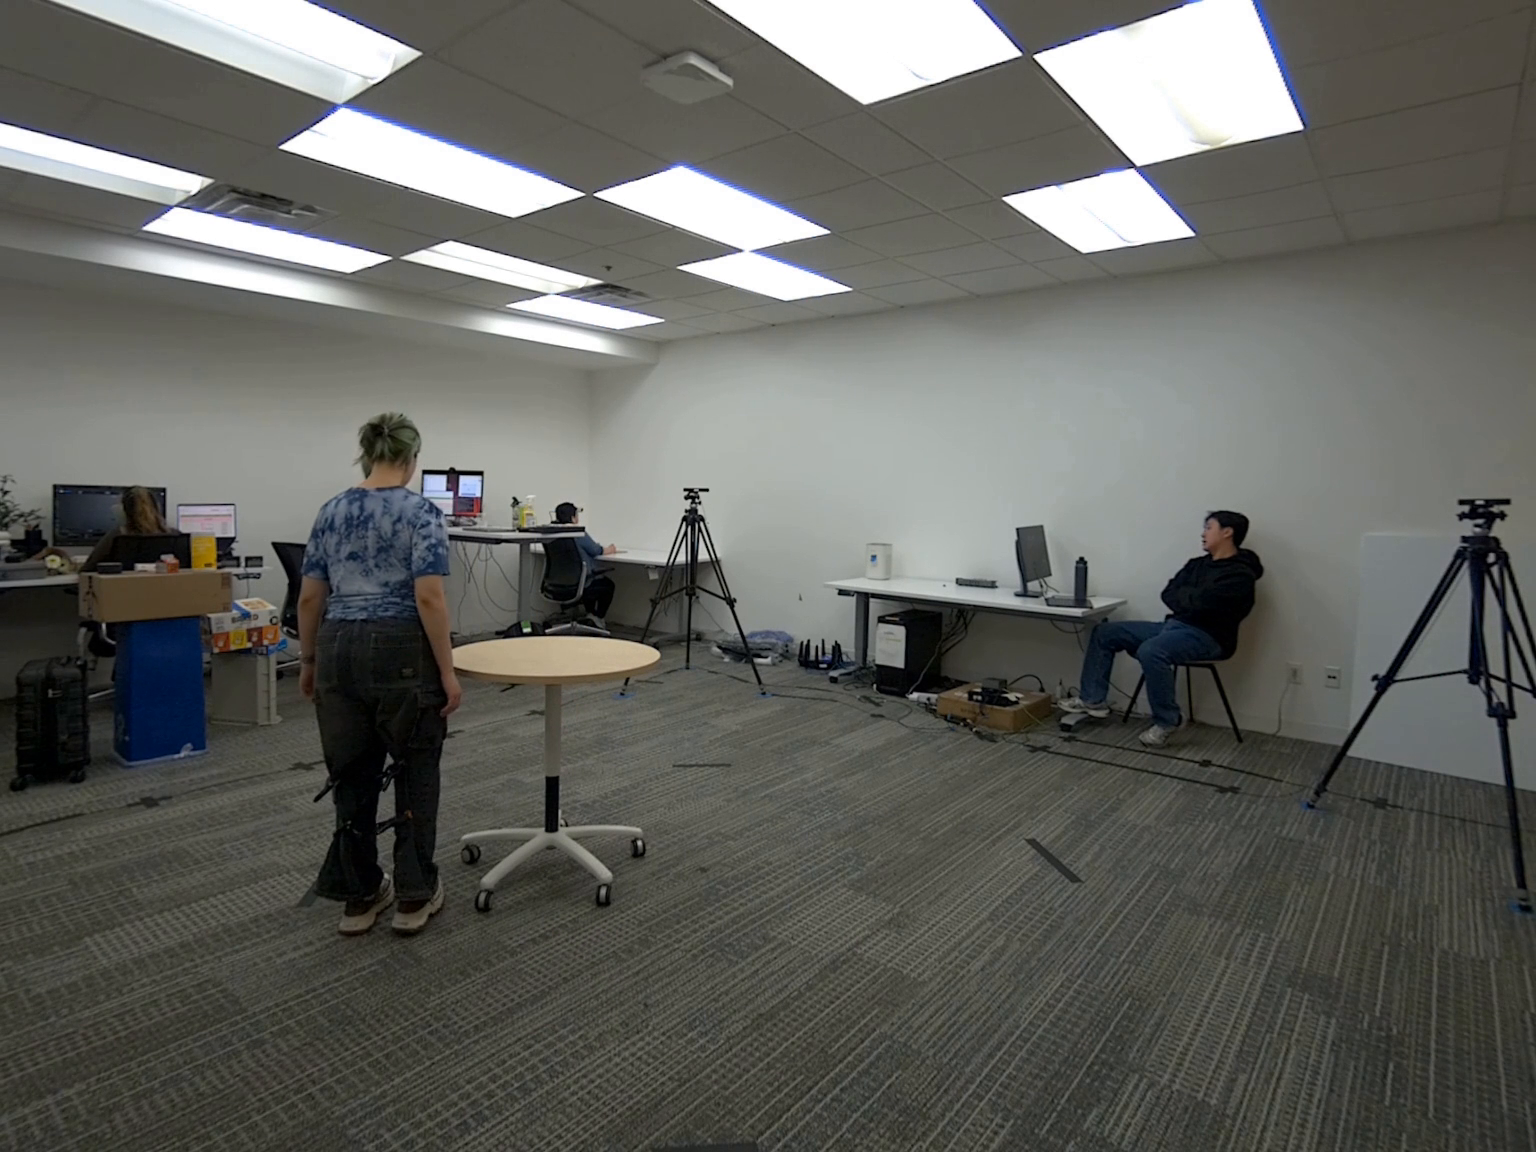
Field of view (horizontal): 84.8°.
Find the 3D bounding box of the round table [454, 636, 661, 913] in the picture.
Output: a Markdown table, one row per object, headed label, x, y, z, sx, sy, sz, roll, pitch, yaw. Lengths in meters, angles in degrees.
| label | x | y | z | sx | sy | sz | roll | pitch | yaw |
| --- | --- | --- | --- | --- | --- | --- | --- | --- | --- |
| round table | -0.784 | 0.672 | 3.074 | 0.763 | 0.792 | 0.767 | 1 | 4 | -2 |
